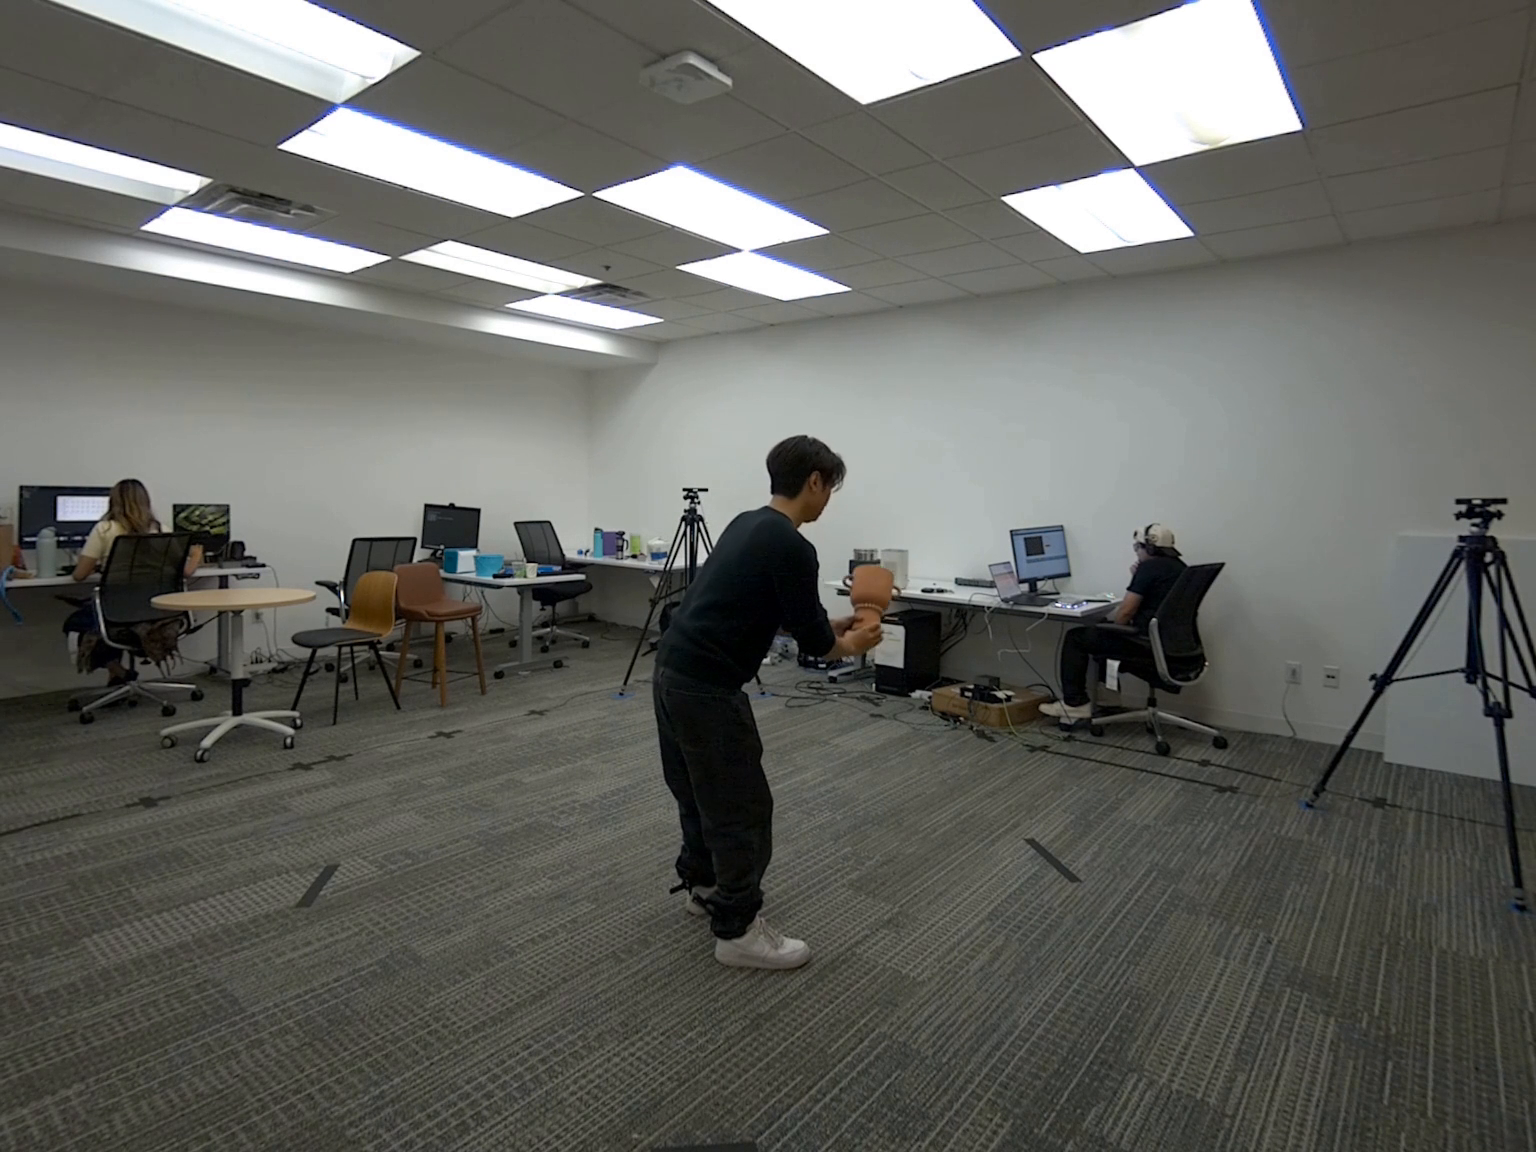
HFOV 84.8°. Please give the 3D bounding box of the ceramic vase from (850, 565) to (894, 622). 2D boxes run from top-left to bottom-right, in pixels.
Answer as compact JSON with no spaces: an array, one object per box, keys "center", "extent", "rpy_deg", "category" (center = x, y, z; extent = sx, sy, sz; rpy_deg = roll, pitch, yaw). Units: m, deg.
[{"center":[0.326,0.093,2.788],"extent":[0.163,0.223,0.129],"rpy_deg":[-5,-29,32],"category":"ceramic vase"}]
